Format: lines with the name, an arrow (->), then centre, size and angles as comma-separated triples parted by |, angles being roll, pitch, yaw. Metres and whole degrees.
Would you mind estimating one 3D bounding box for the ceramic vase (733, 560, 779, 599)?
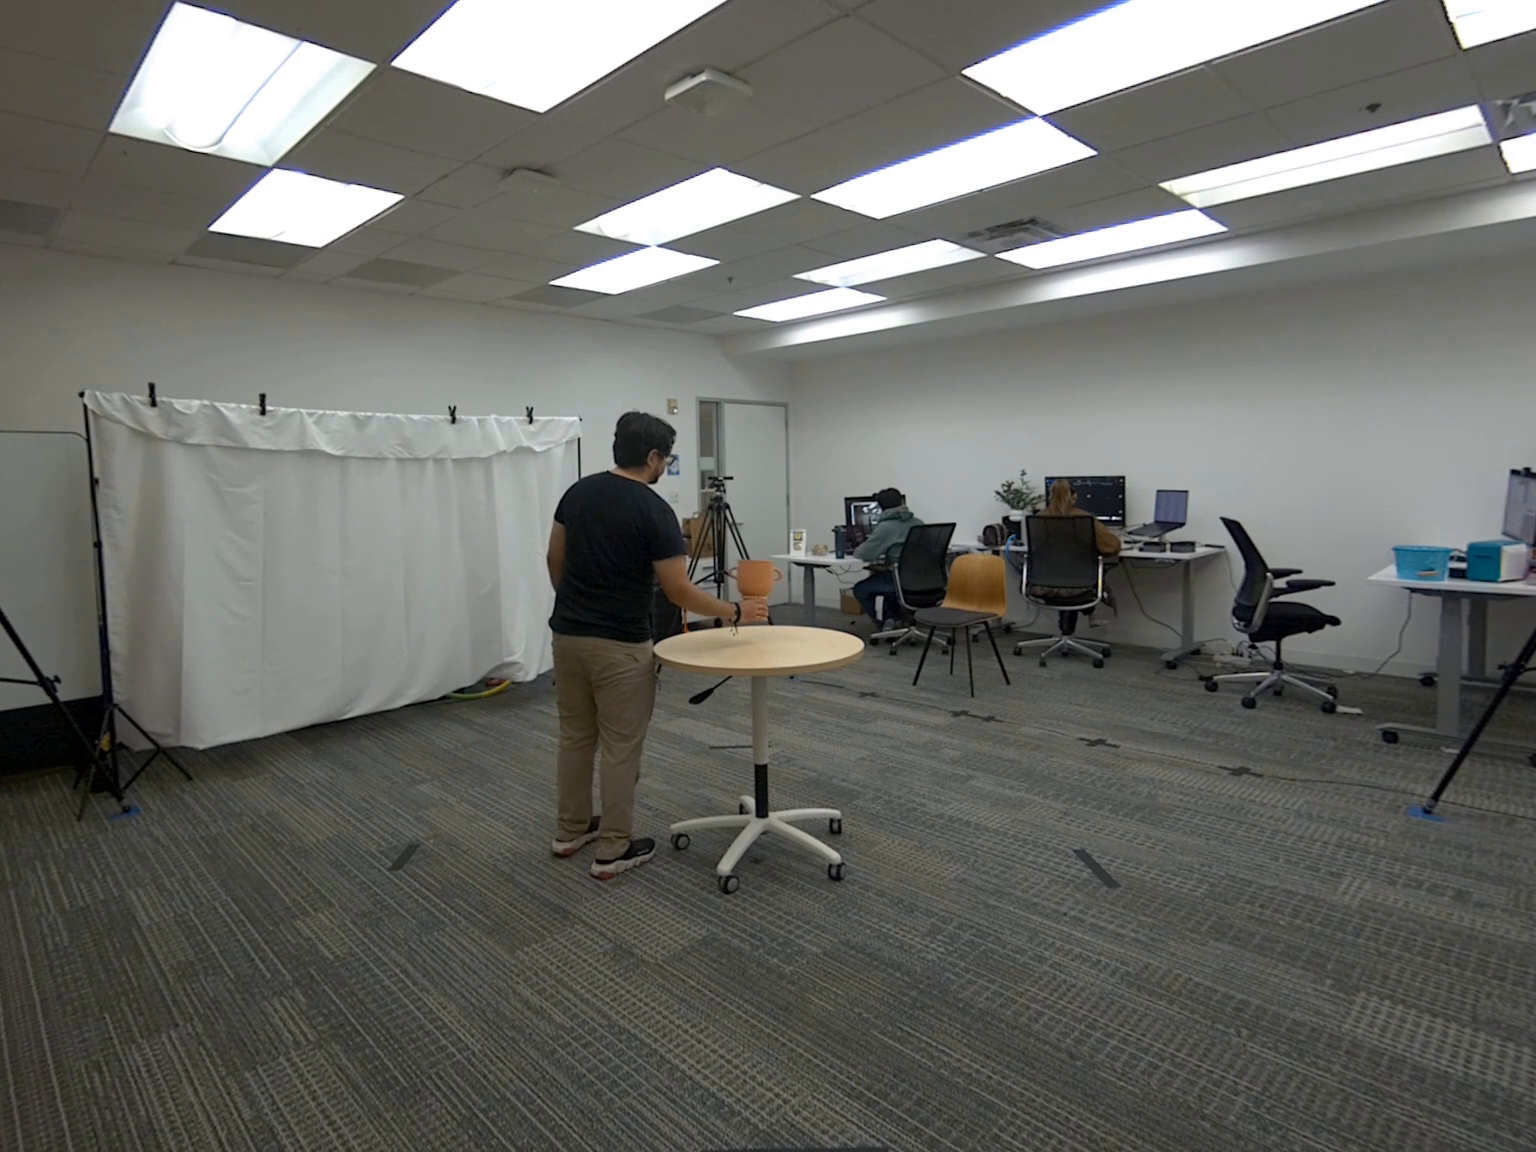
ceramic vase -> -0.050, 0.049, 3.163 | 0.163, 0.220, 0.130 | 0, -3, 35
